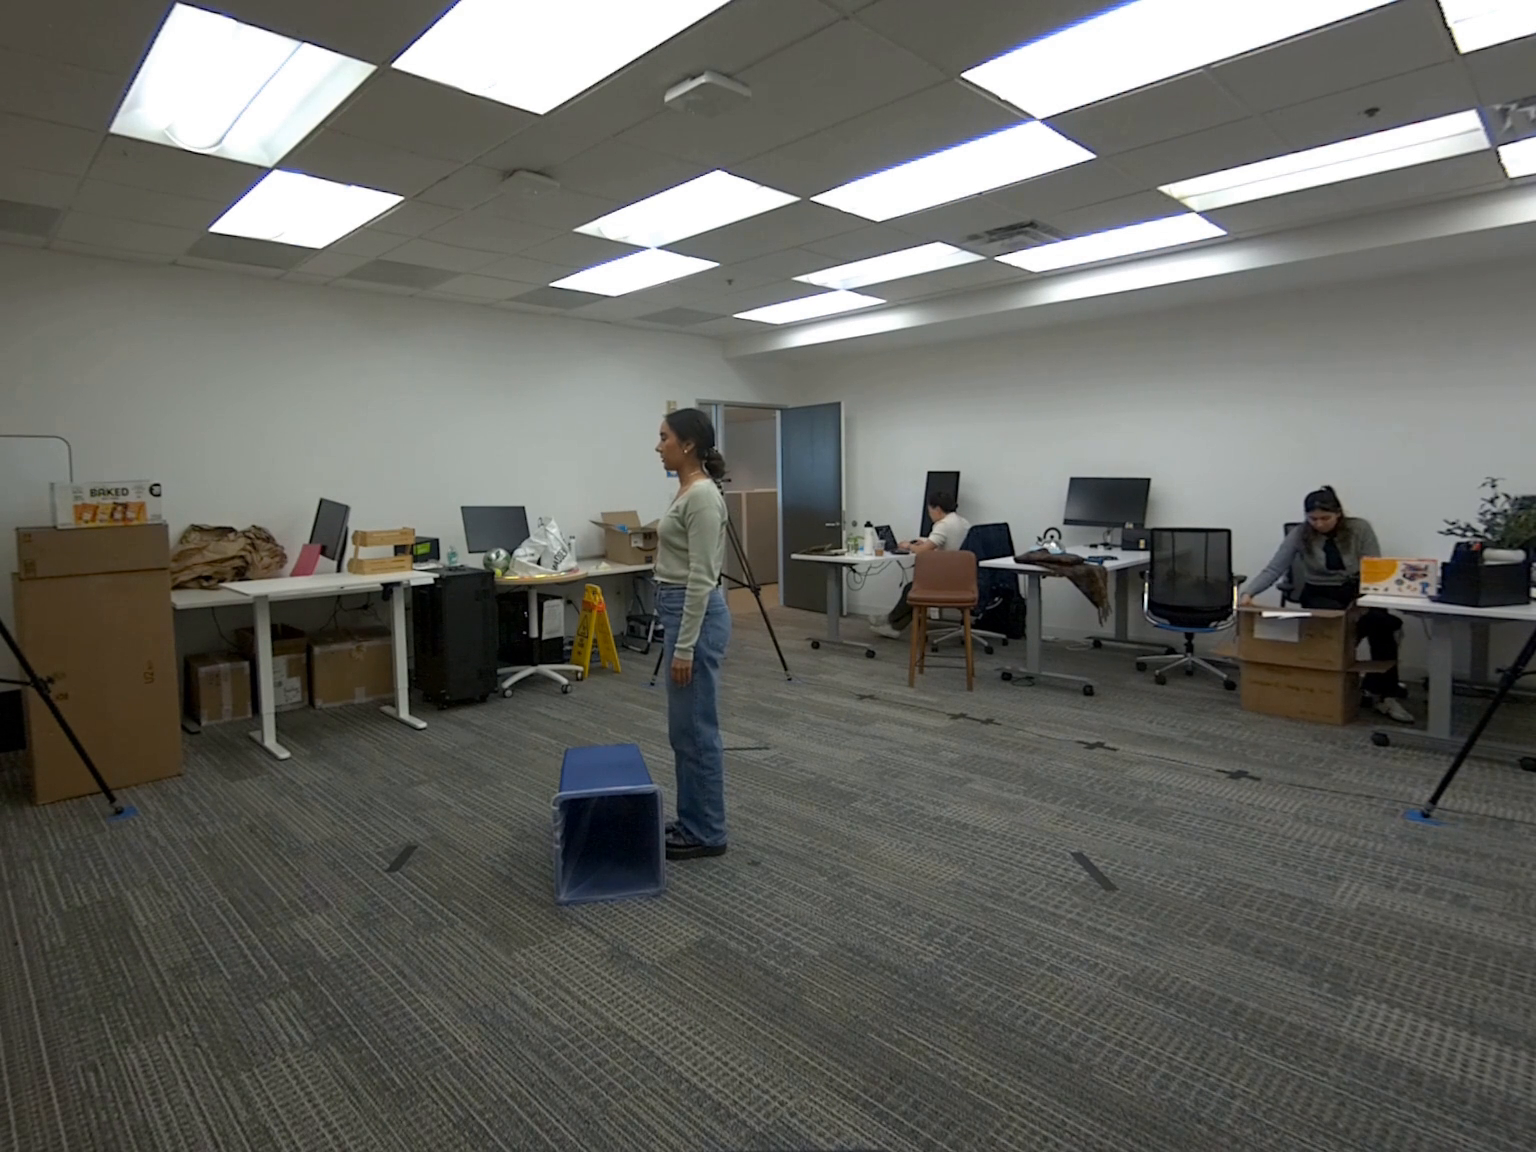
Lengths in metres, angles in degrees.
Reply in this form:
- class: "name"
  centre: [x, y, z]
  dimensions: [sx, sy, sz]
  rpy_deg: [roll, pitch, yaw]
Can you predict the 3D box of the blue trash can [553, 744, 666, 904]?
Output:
- class: "blue trash can"
  centre: [-0.601, 0.867, 3.188]
  dimensions: [0.370, 0.377, 0.722]
  rpy_deg: [-1, 4, -11]
